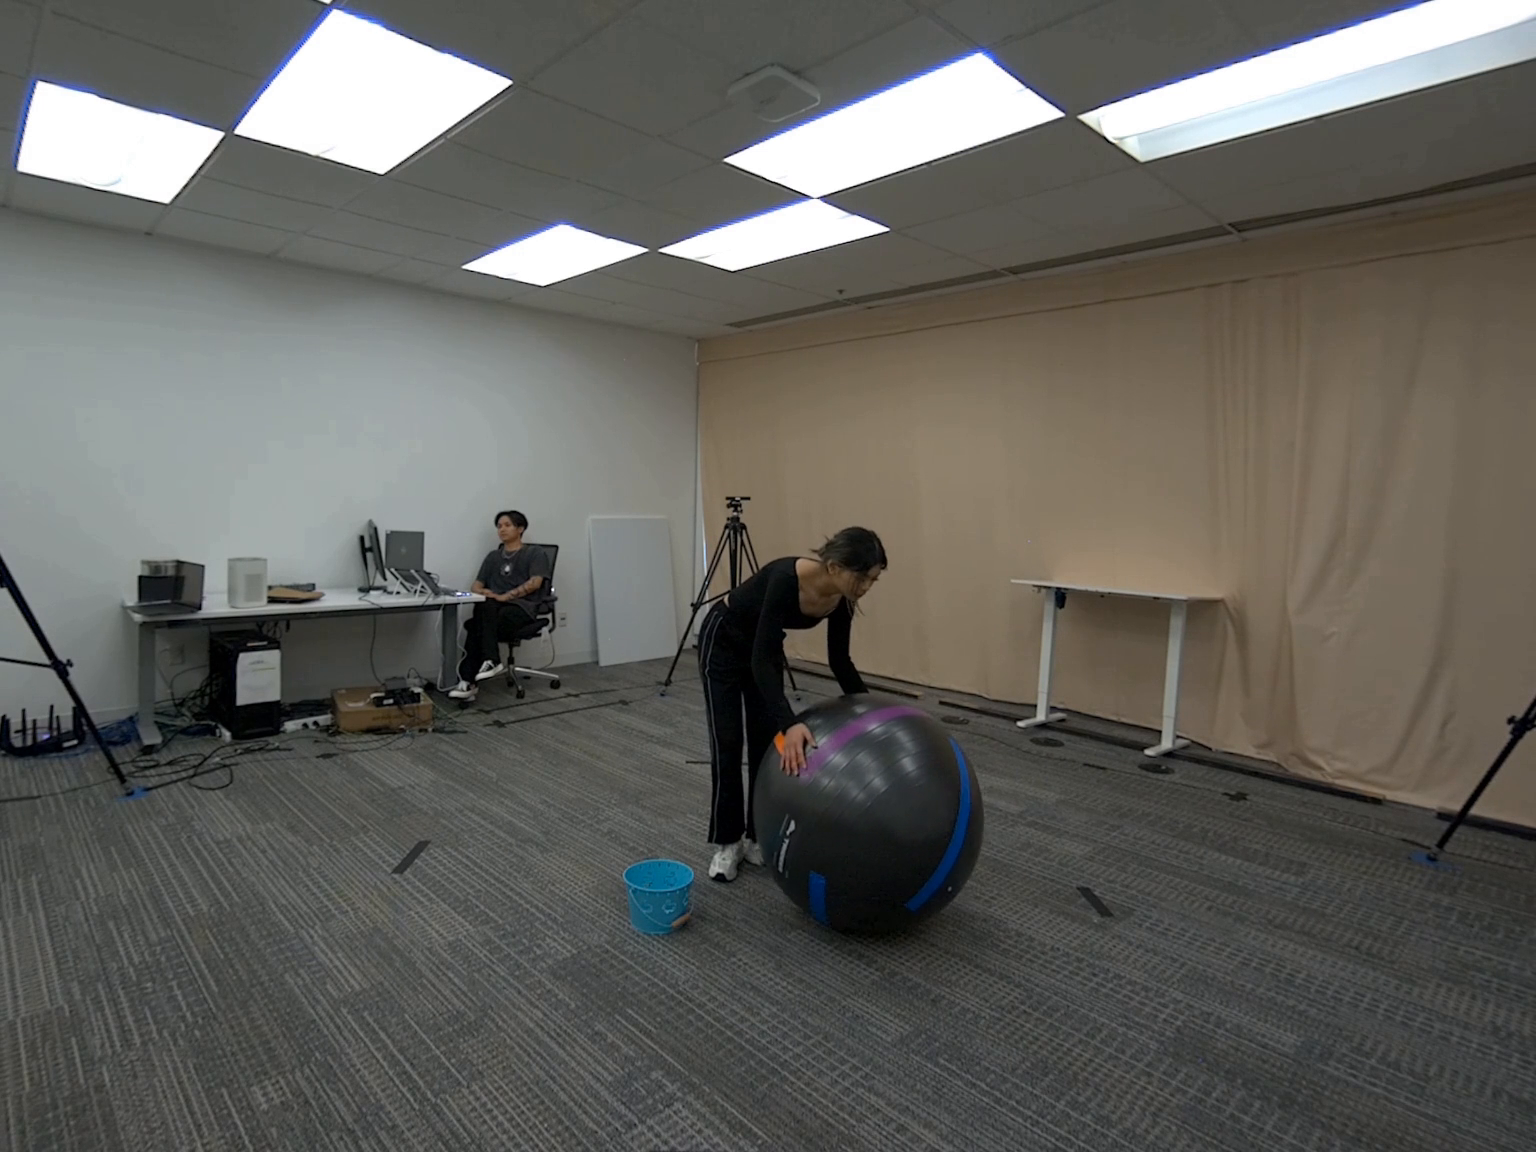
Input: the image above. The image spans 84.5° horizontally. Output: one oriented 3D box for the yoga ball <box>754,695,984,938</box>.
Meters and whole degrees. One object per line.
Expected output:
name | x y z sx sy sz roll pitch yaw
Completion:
yoga ball | 0.325 0.775 2.795 0.757 0.756 0.761 1 4 -1
